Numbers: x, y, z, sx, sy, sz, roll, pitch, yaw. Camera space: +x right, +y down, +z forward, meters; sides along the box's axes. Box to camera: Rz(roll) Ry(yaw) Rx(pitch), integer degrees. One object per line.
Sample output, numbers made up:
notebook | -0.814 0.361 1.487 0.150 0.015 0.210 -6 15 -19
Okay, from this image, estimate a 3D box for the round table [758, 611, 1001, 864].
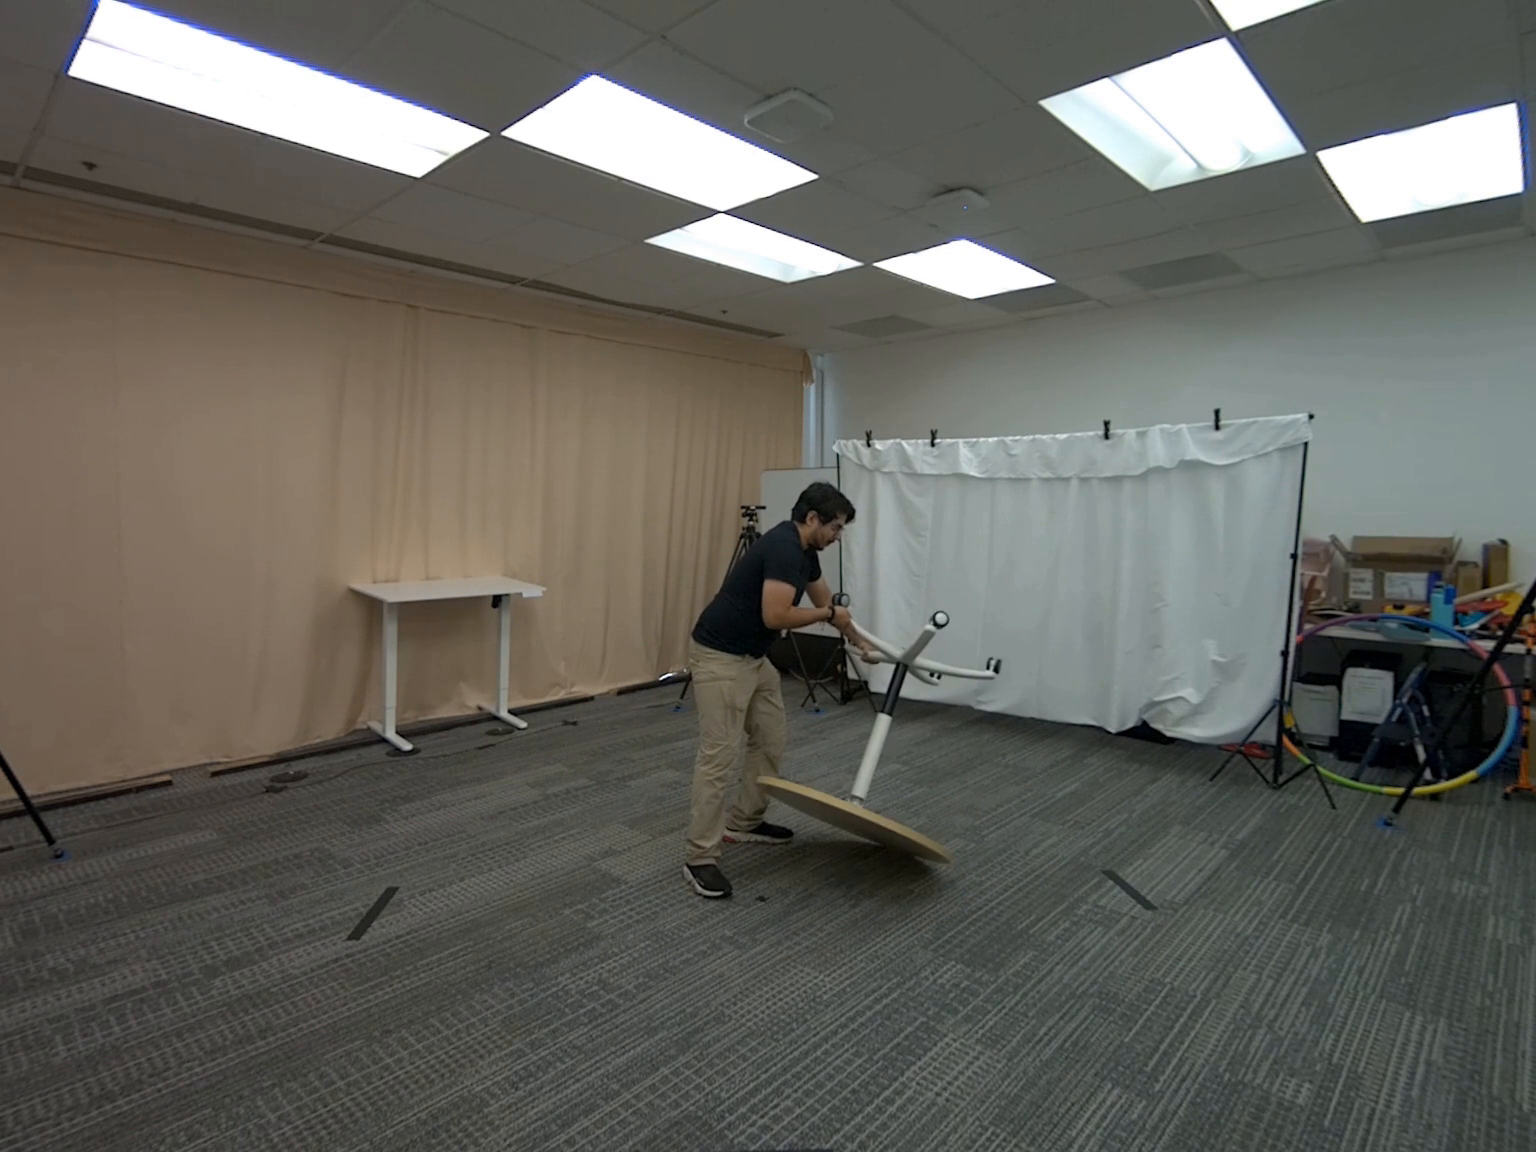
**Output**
round table | 0.463 0.586 3.293 0.792 0.789 0.776 20 -19 5
